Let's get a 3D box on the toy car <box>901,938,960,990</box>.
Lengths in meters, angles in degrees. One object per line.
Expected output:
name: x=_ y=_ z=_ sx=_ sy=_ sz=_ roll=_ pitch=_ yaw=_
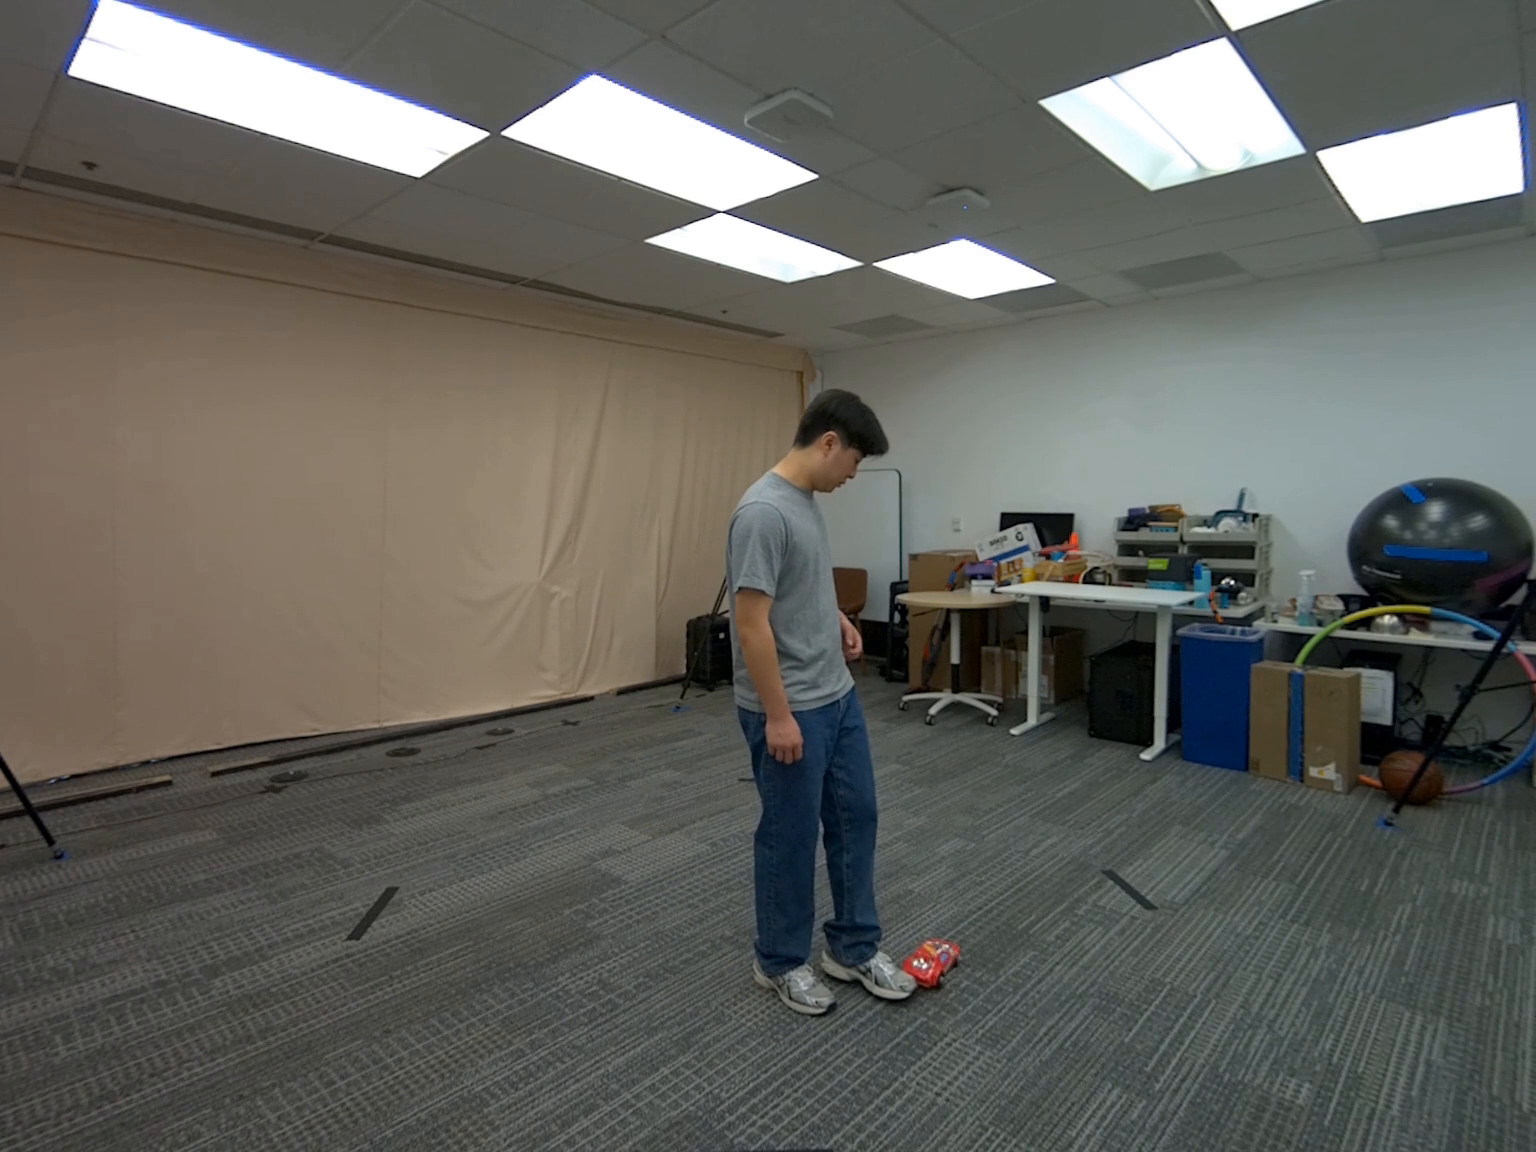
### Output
toy car: x=0.486 y=1.150 z=2.500 sx=0.134 sy=0.083 sz=0.246 roll=5 pitch=-4 yaw=36
